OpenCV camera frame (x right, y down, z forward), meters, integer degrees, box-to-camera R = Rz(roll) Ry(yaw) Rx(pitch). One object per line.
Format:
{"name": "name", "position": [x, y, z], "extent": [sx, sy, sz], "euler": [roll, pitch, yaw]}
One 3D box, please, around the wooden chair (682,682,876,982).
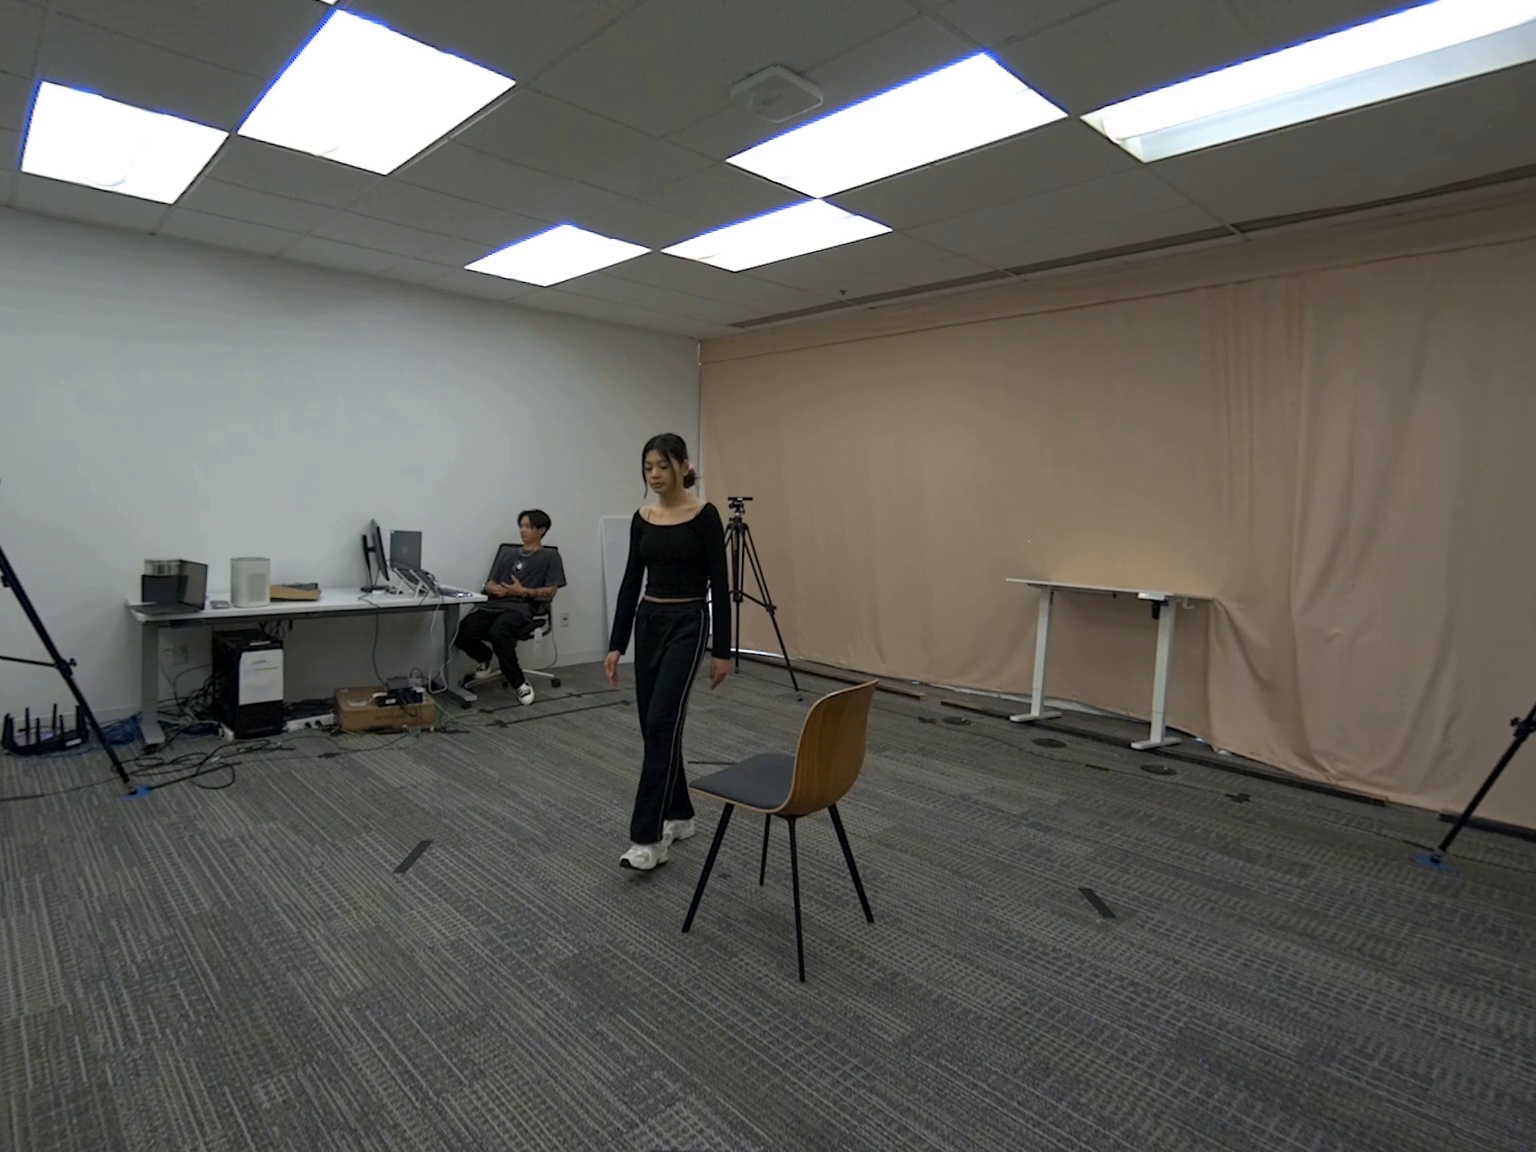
{"name": "wooden chair", "position": [0.037, 0.720, 2.712], "extent": [0.536, 0.873, 0.468], "euler": [9, 8, 35]}
